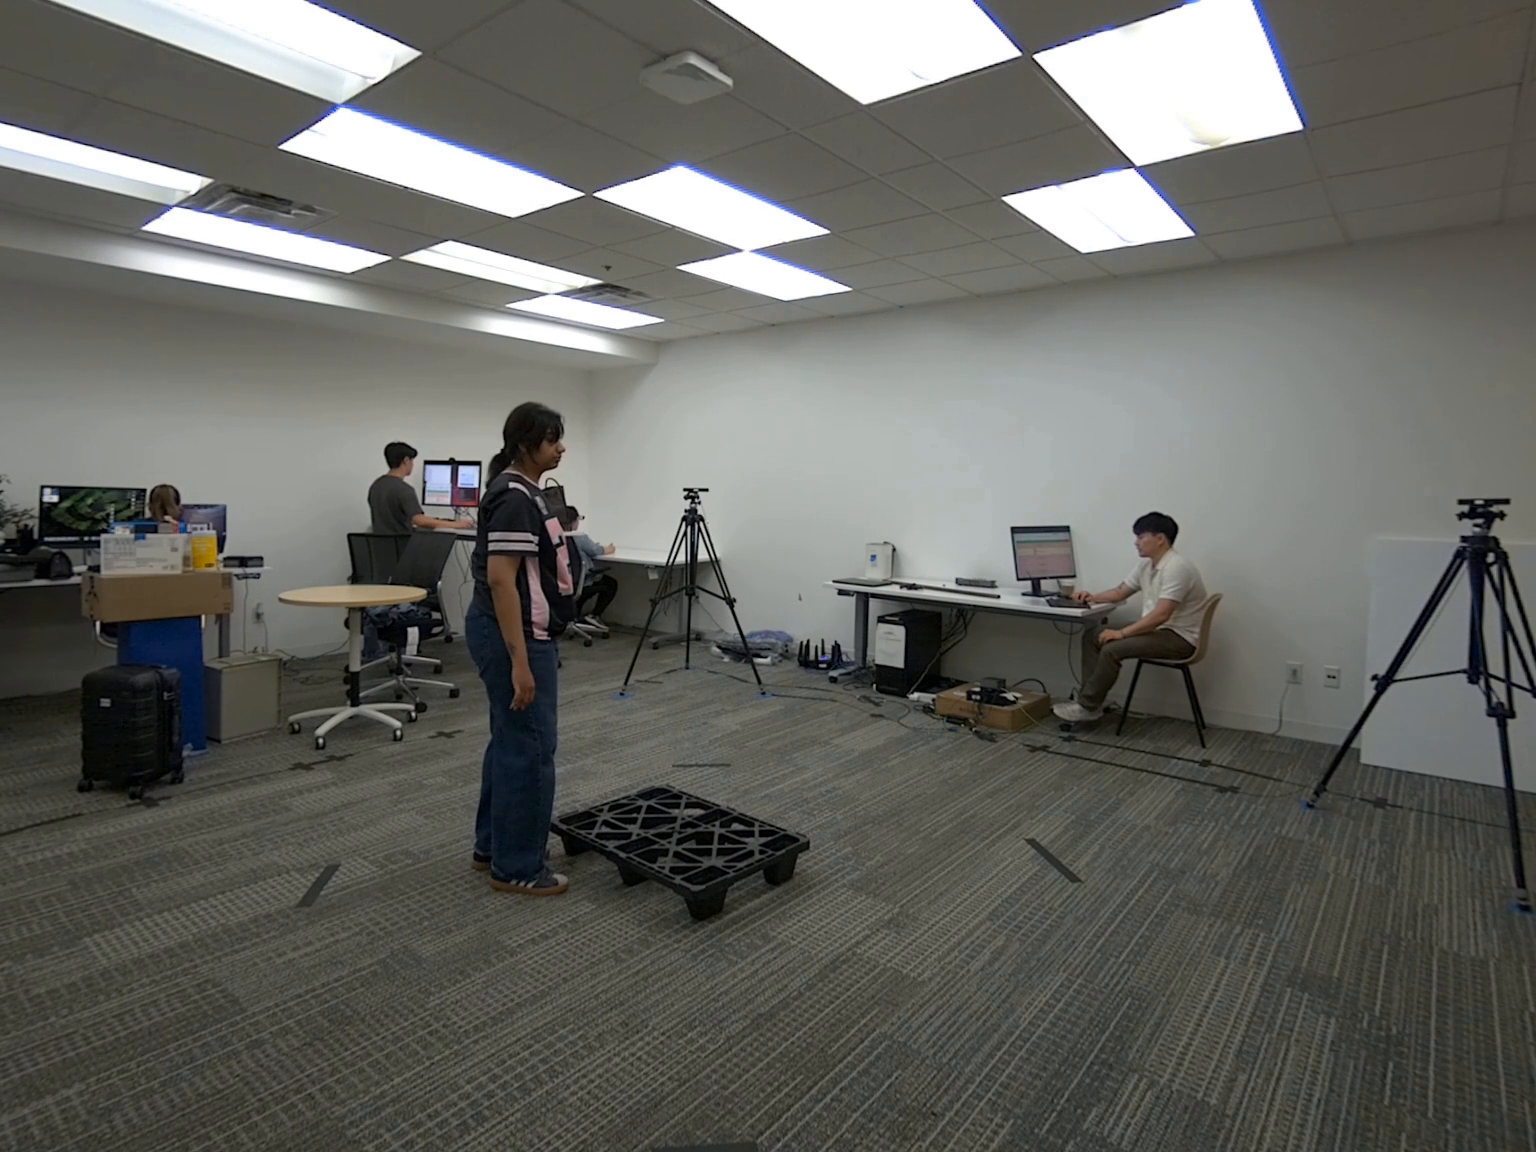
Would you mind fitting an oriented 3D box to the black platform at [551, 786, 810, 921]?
[{"bbox_3d":[-0.348,0.999,3.144,0.833,0.143,0.587,6,7,42],"label":"black platform"}]
